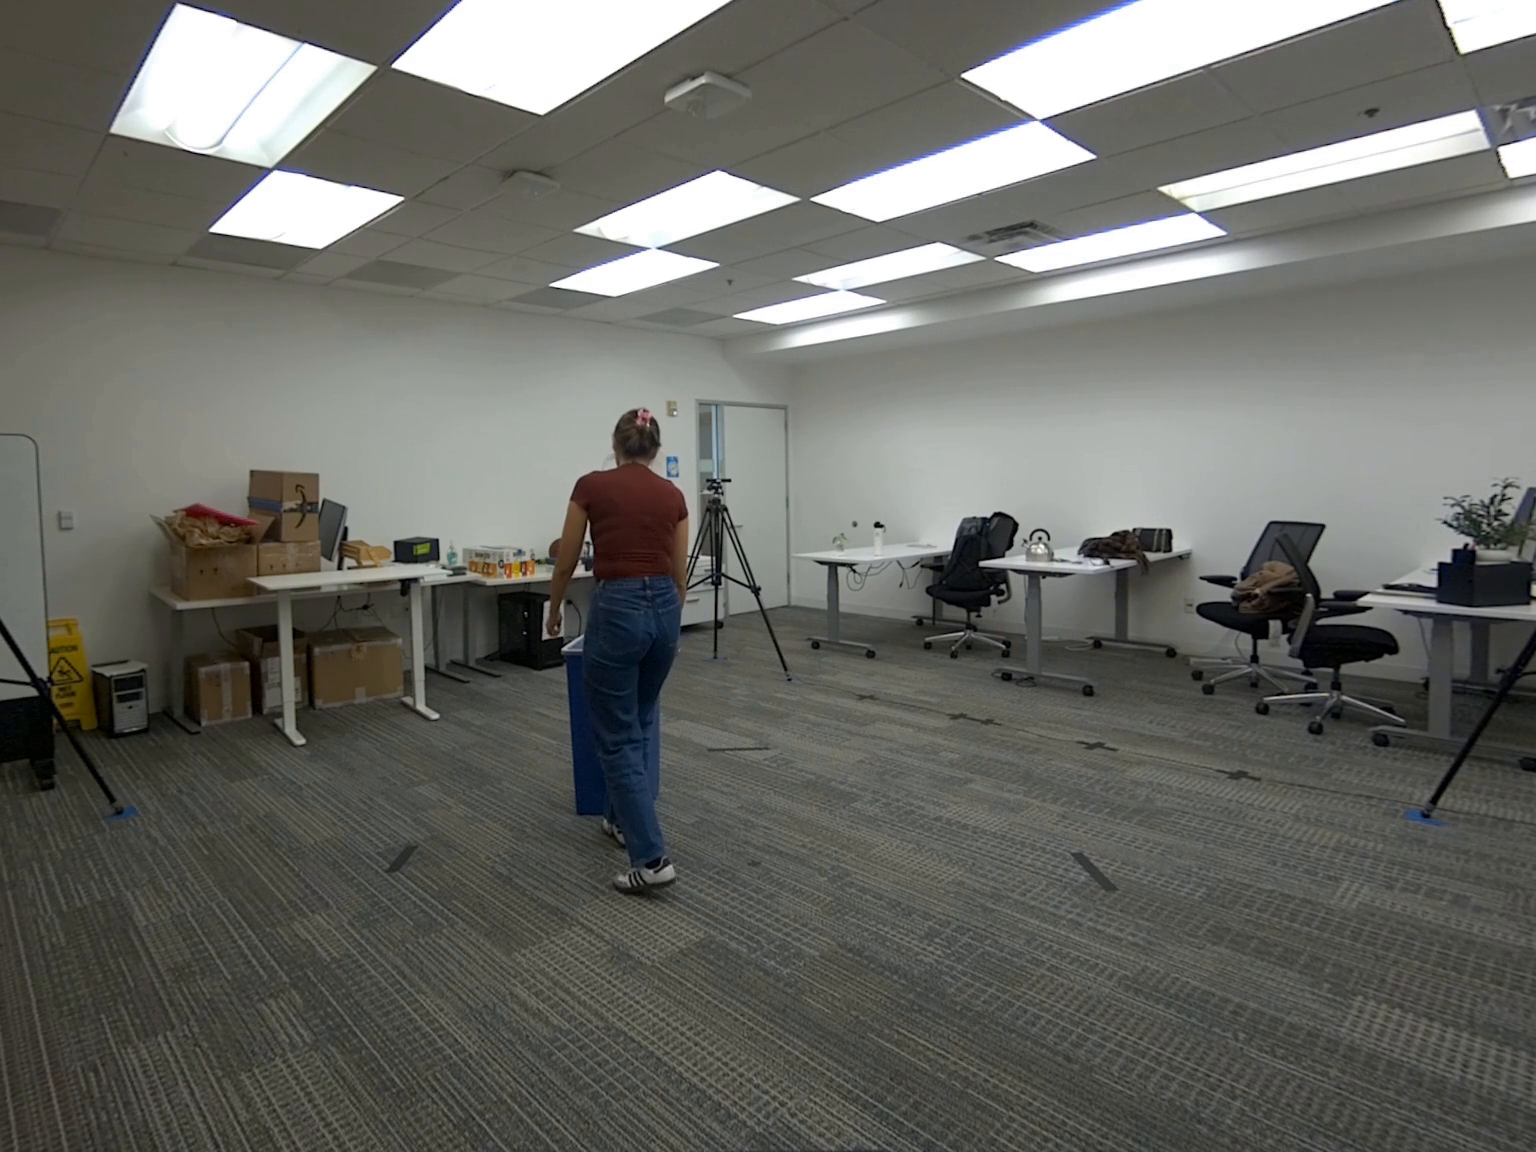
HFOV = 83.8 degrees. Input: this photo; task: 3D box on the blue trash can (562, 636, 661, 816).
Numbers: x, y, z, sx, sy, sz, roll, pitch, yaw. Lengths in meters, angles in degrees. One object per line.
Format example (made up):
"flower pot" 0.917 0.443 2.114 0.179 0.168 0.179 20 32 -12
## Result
"blue trash can" -0.651 0.635 3.694 0.380 0.711 0.373 -1 4 6
